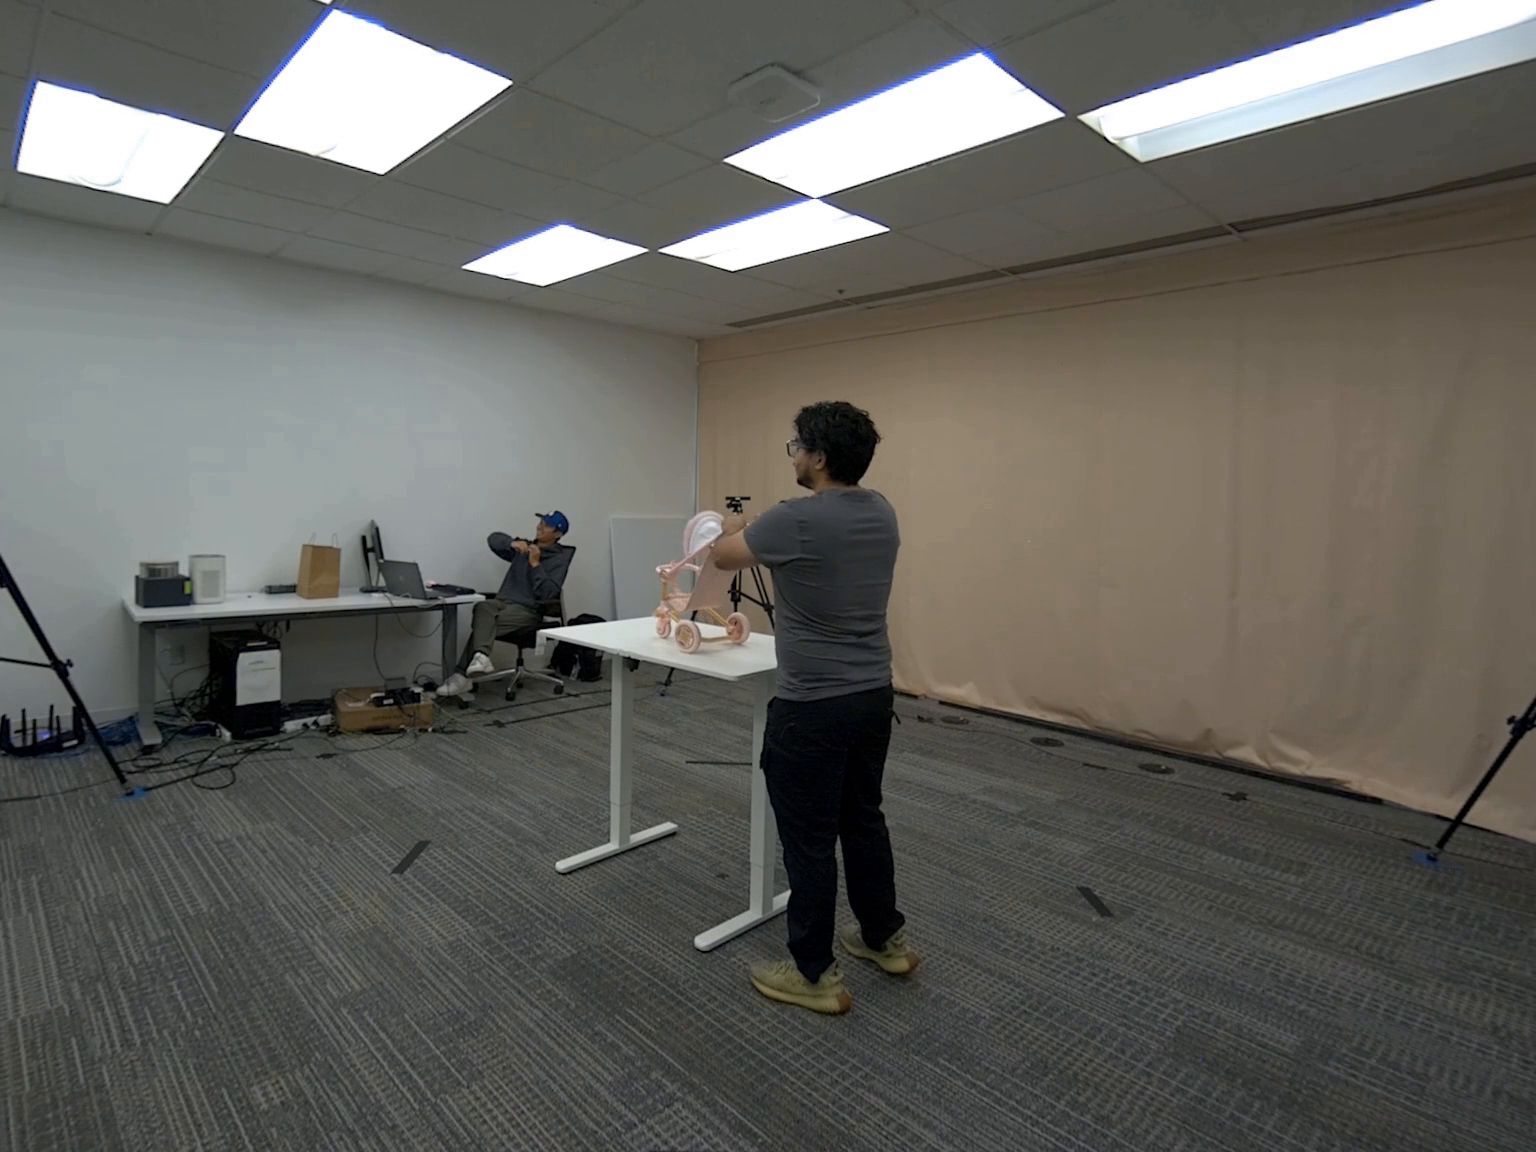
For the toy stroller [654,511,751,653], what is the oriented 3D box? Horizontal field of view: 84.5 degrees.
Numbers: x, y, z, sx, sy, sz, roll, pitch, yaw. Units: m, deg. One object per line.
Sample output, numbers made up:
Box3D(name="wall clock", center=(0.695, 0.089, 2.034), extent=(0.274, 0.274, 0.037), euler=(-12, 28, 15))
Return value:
Box3D(name="toy stroller", center=(-0.230, 0.019, 2.875), extent=(0.275, 0.531, 0.352), euler=(-2, 21, -45))
